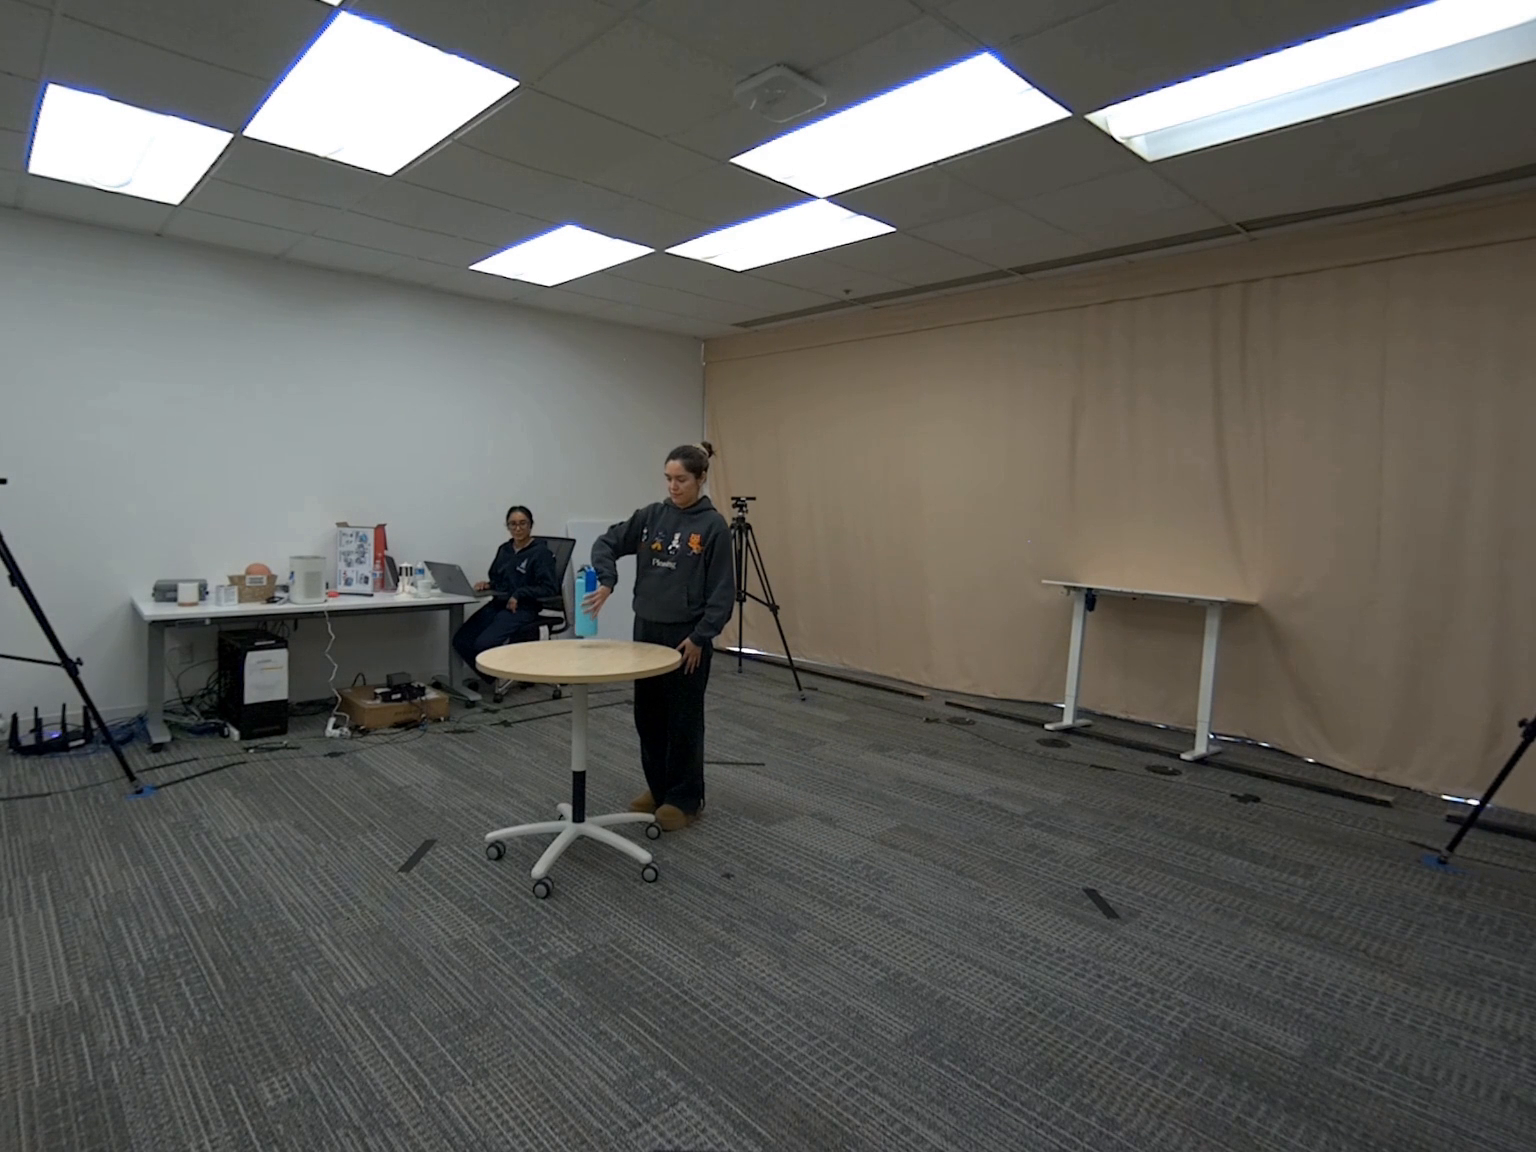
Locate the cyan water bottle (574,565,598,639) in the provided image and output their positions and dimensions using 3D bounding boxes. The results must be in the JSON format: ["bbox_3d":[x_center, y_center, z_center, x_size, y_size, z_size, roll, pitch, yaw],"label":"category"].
[{"bbox_3d":[-0.746,0.097,3.400,0.092,0.283,0.092,1,2,-1],"label":"cyan water bottle"}]
